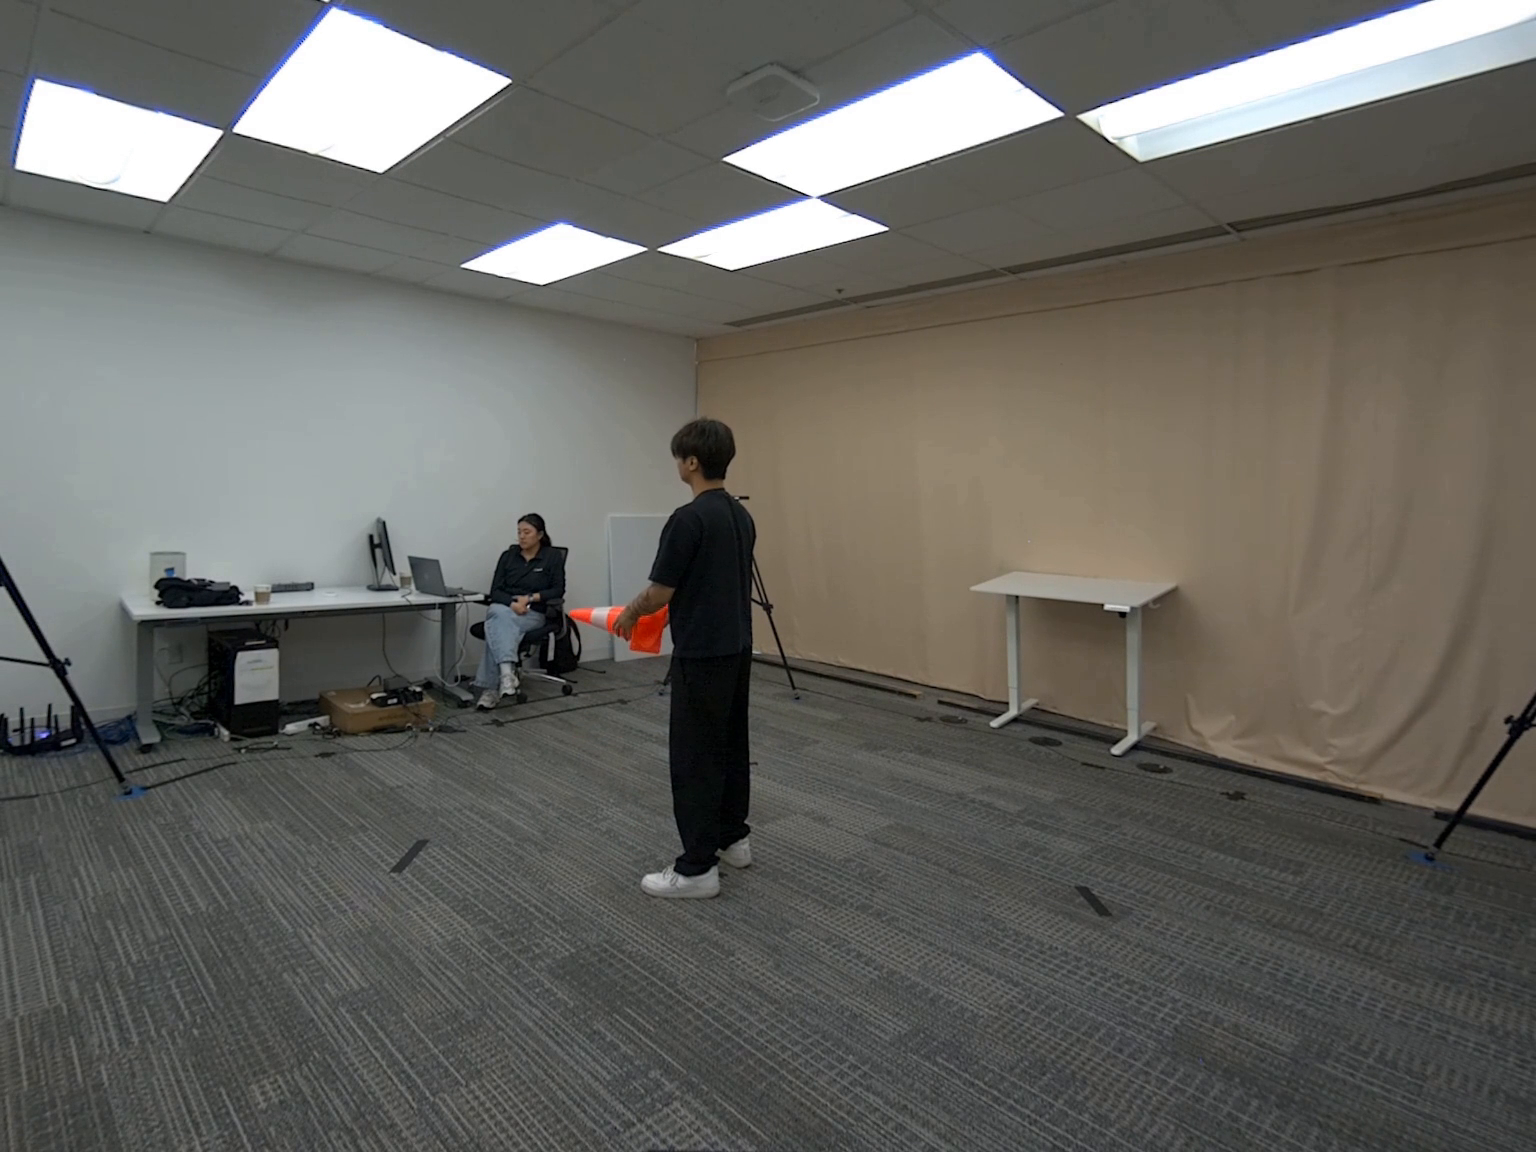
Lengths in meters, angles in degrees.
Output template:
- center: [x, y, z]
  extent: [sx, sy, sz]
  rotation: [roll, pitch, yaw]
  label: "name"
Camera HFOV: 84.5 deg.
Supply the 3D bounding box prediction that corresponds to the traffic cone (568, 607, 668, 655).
- center: [-0.618, 0.169, 3.292]
  extent: [0.392, 0.206, 0.198]
  rotation: [7, -9, 29]
  label: "traffic cone"
